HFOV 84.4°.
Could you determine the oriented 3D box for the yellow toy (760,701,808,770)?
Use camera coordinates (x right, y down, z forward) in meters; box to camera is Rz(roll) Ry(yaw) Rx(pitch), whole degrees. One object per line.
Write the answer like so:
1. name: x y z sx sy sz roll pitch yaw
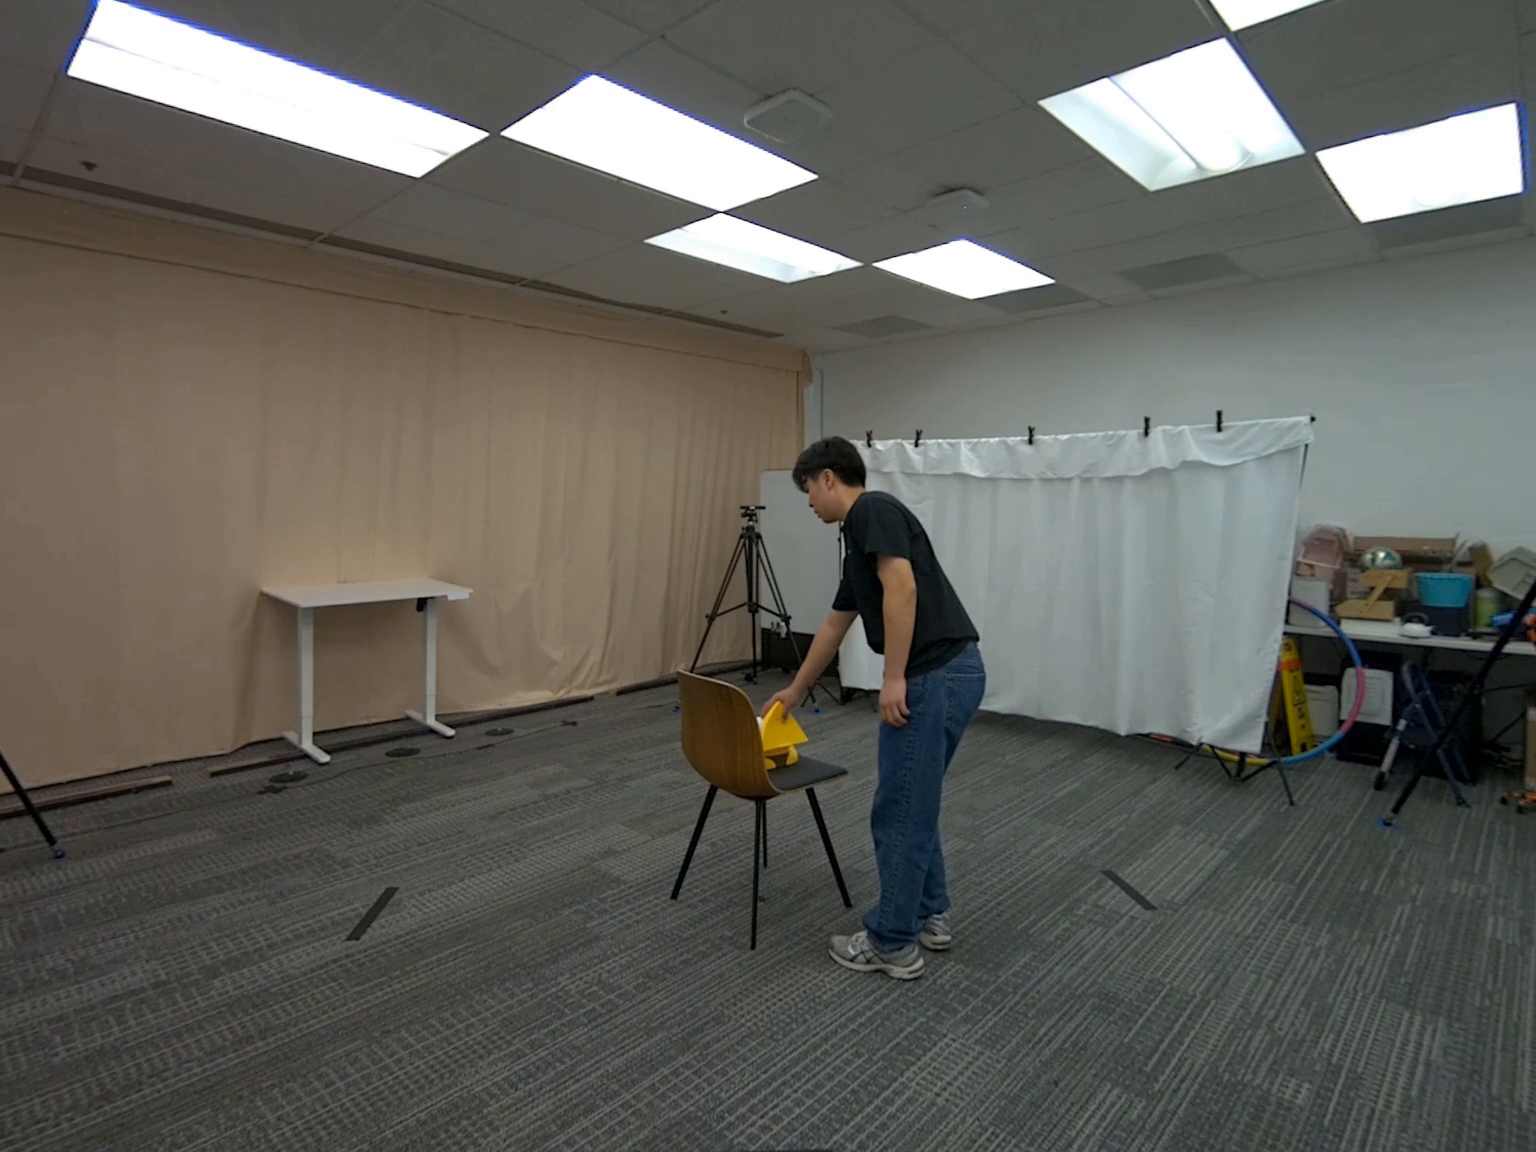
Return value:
1. yellow toy: 0.009 0.543 2.992 0.199 0.229 0.199 -5 8 -31
